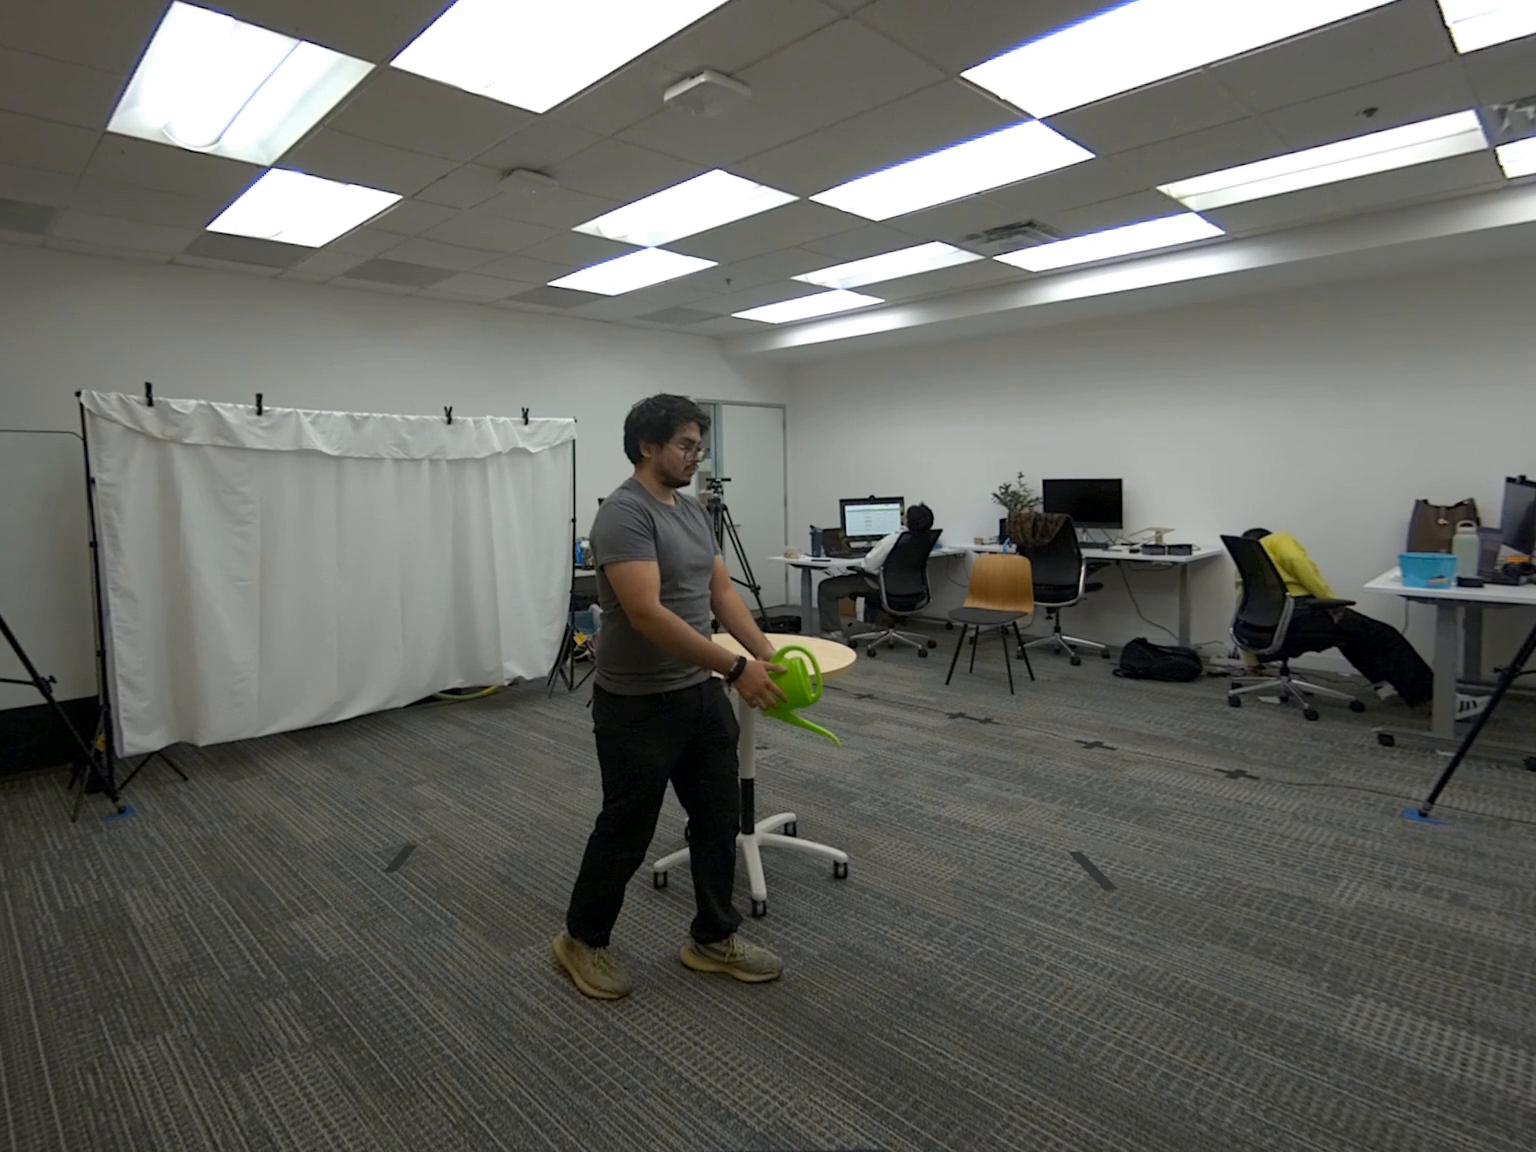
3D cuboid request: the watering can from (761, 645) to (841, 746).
[{"bbox_3d":[0.065,0.315,2.181,0.178,0.284,0.095,-20,-19,12],"label":"watering can"}]
